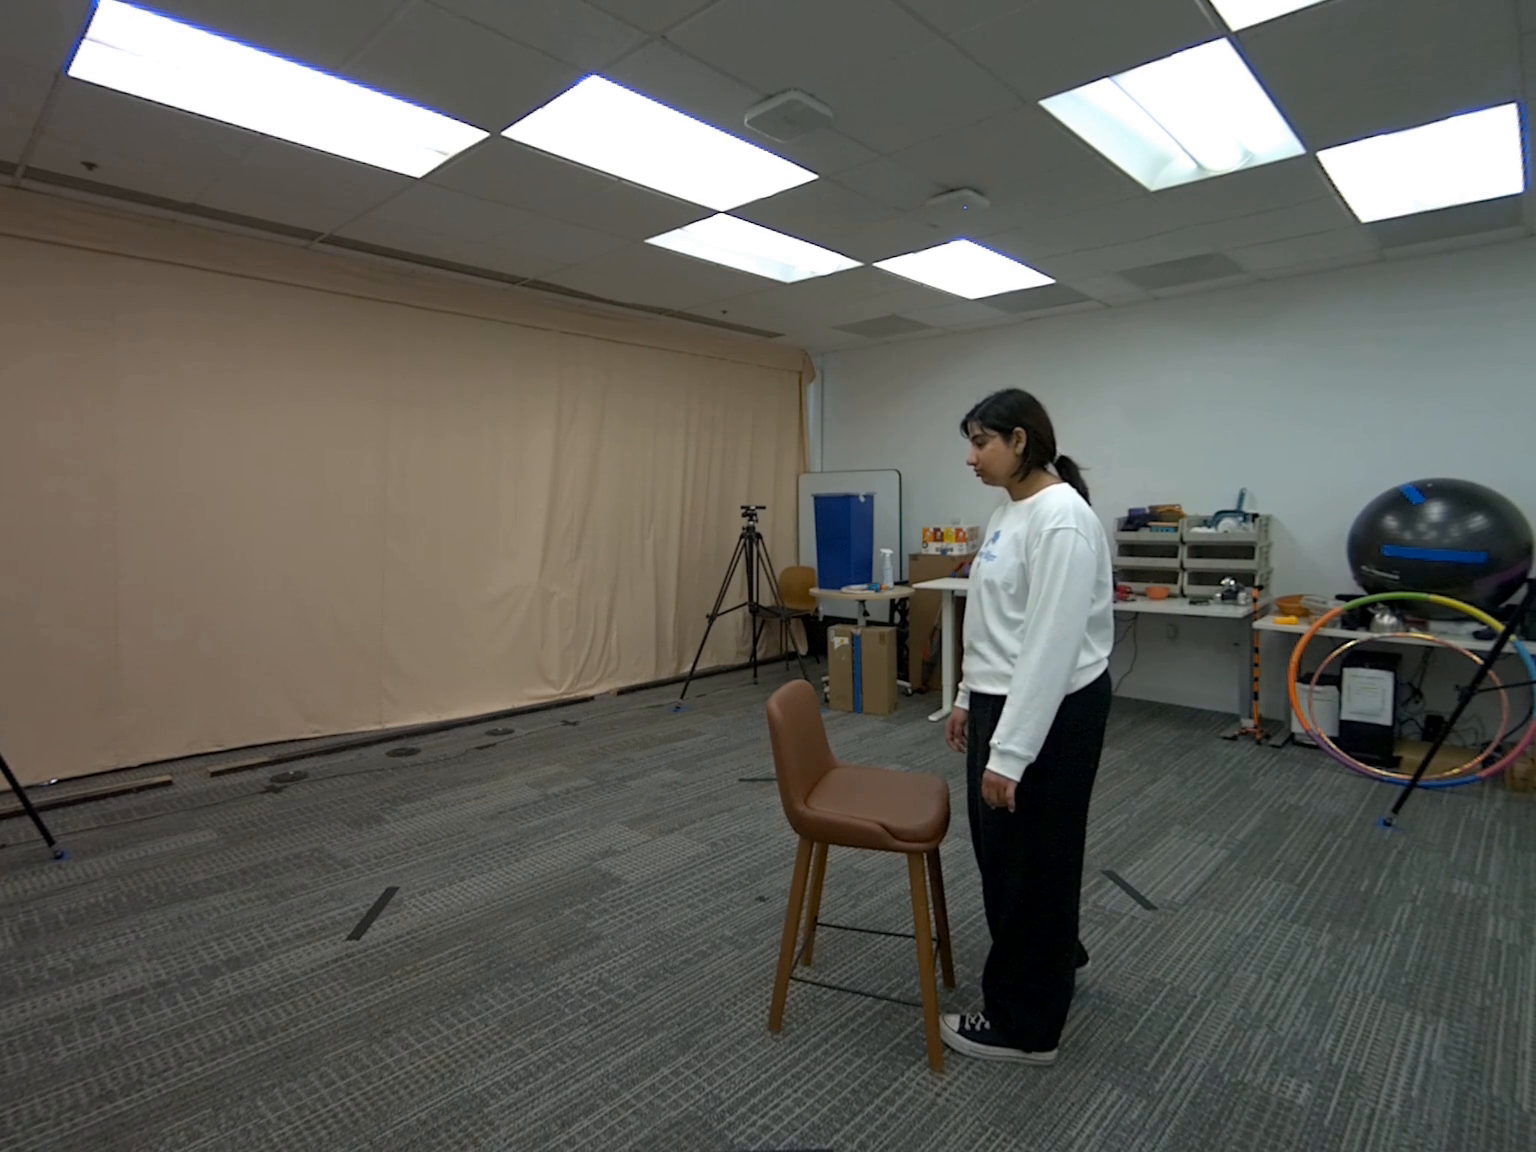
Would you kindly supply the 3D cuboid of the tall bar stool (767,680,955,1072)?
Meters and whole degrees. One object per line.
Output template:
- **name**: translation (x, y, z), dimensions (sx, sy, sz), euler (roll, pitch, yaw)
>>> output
- **tall bar stool**: translation (0.273, 0.767, 2.310), dimensions (0.478, 0.888, 0.447), euler (0, 3, 21)
